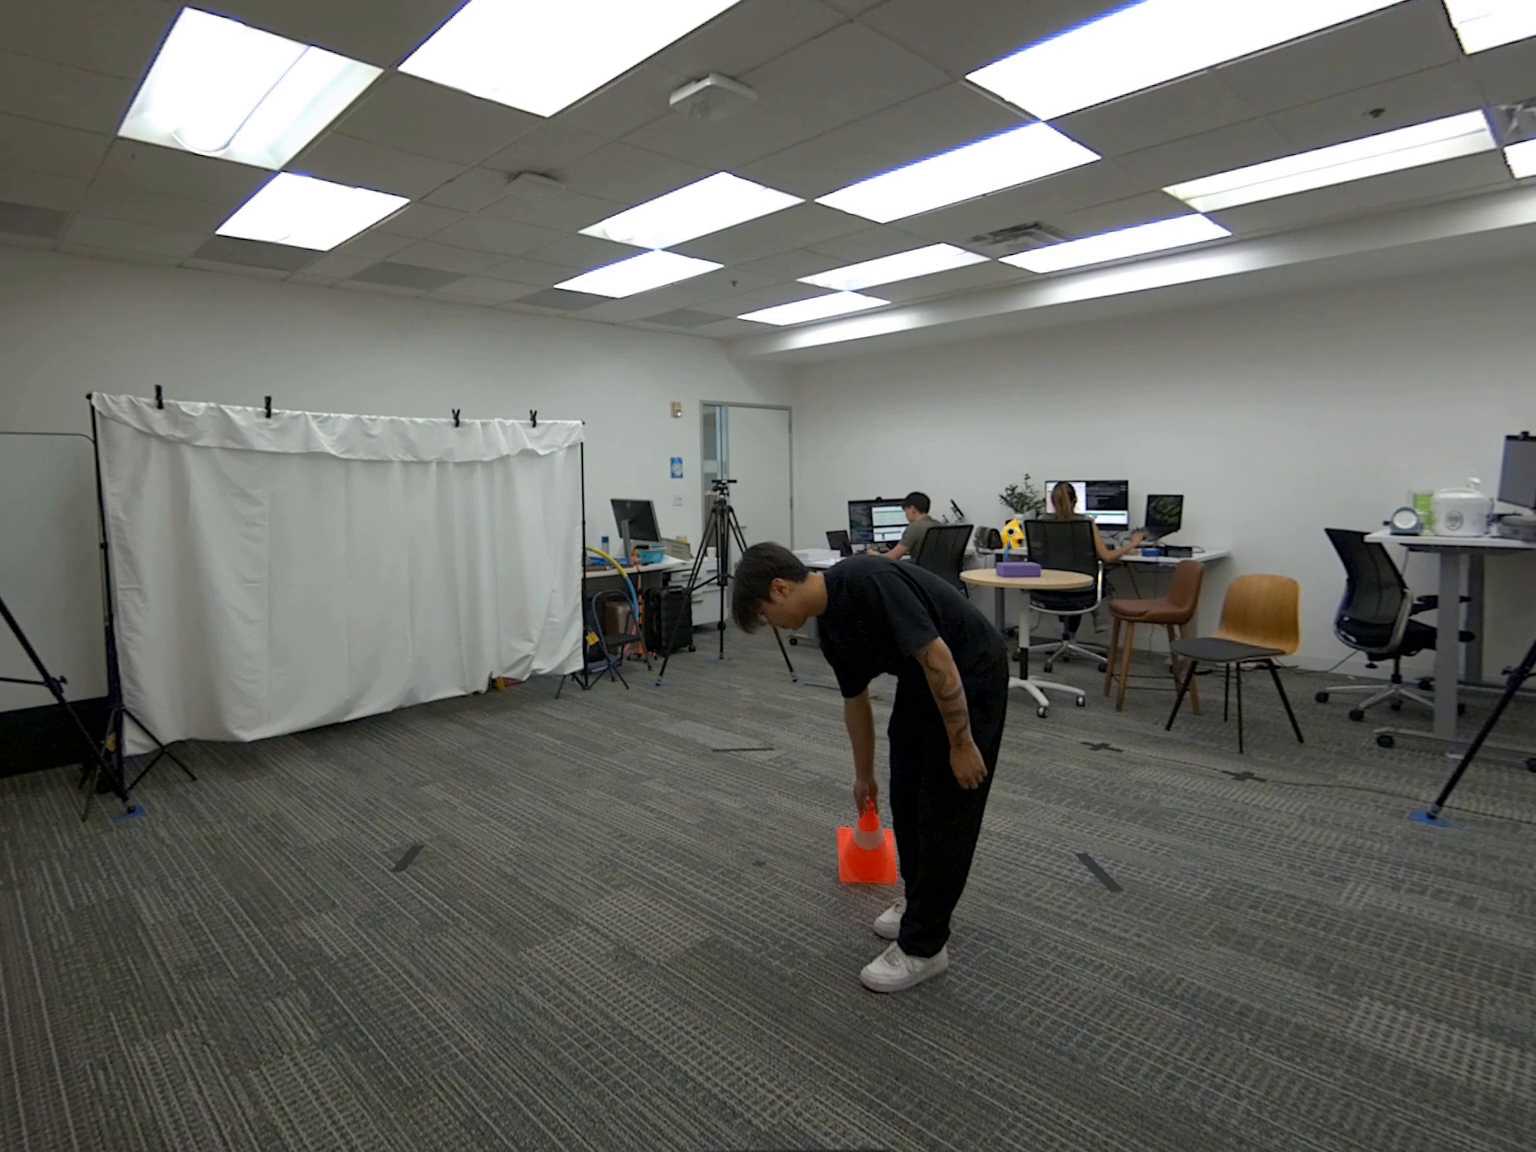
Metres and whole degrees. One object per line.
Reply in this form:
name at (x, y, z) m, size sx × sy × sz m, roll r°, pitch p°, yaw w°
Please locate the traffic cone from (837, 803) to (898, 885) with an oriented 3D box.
traffic cone at (0.346, 0.862, 2.880) m, size 0.204 × 0.372 × 0.210 m, roll 1°, pitch 47°, yaw 5°
